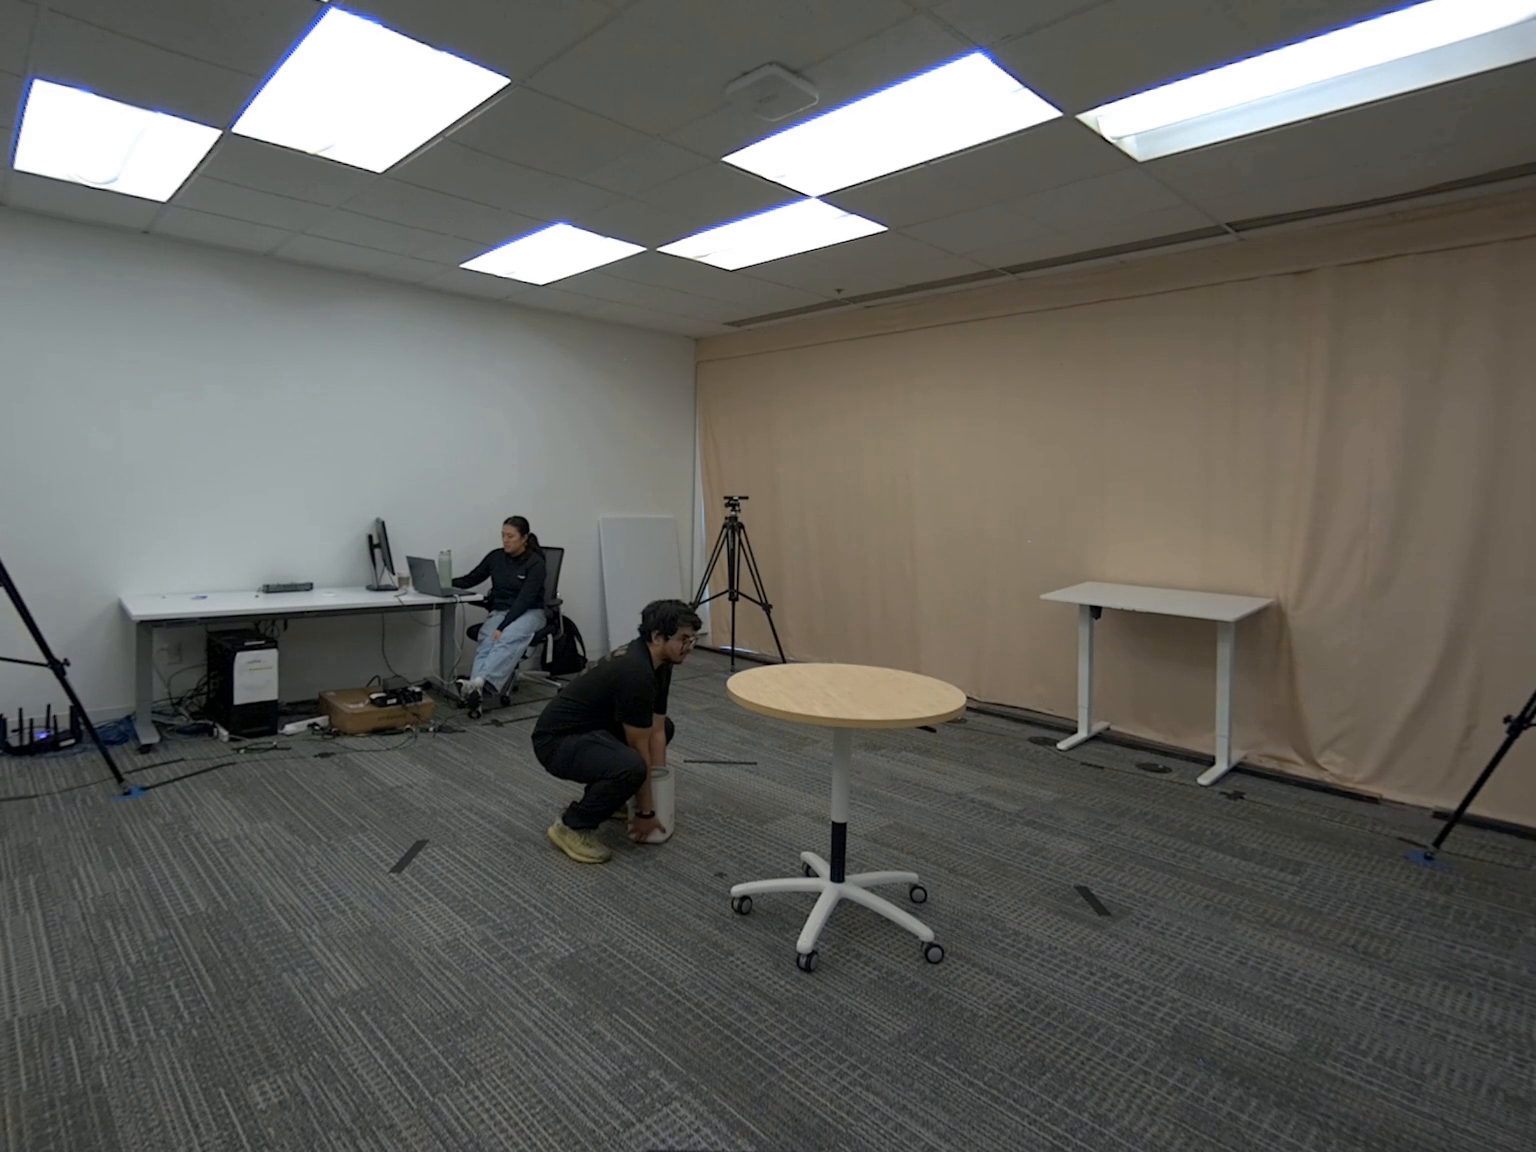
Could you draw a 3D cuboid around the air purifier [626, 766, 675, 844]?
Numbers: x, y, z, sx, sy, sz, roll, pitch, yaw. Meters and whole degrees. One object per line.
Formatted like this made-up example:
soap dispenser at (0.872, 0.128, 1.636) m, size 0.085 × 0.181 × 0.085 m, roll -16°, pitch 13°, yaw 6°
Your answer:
air purifier at (-0.488, 0.933, 3.448) m, size 0.176 × 0.262 × 0.166 m, roll 1°, pitch 3°, yaw 15°
